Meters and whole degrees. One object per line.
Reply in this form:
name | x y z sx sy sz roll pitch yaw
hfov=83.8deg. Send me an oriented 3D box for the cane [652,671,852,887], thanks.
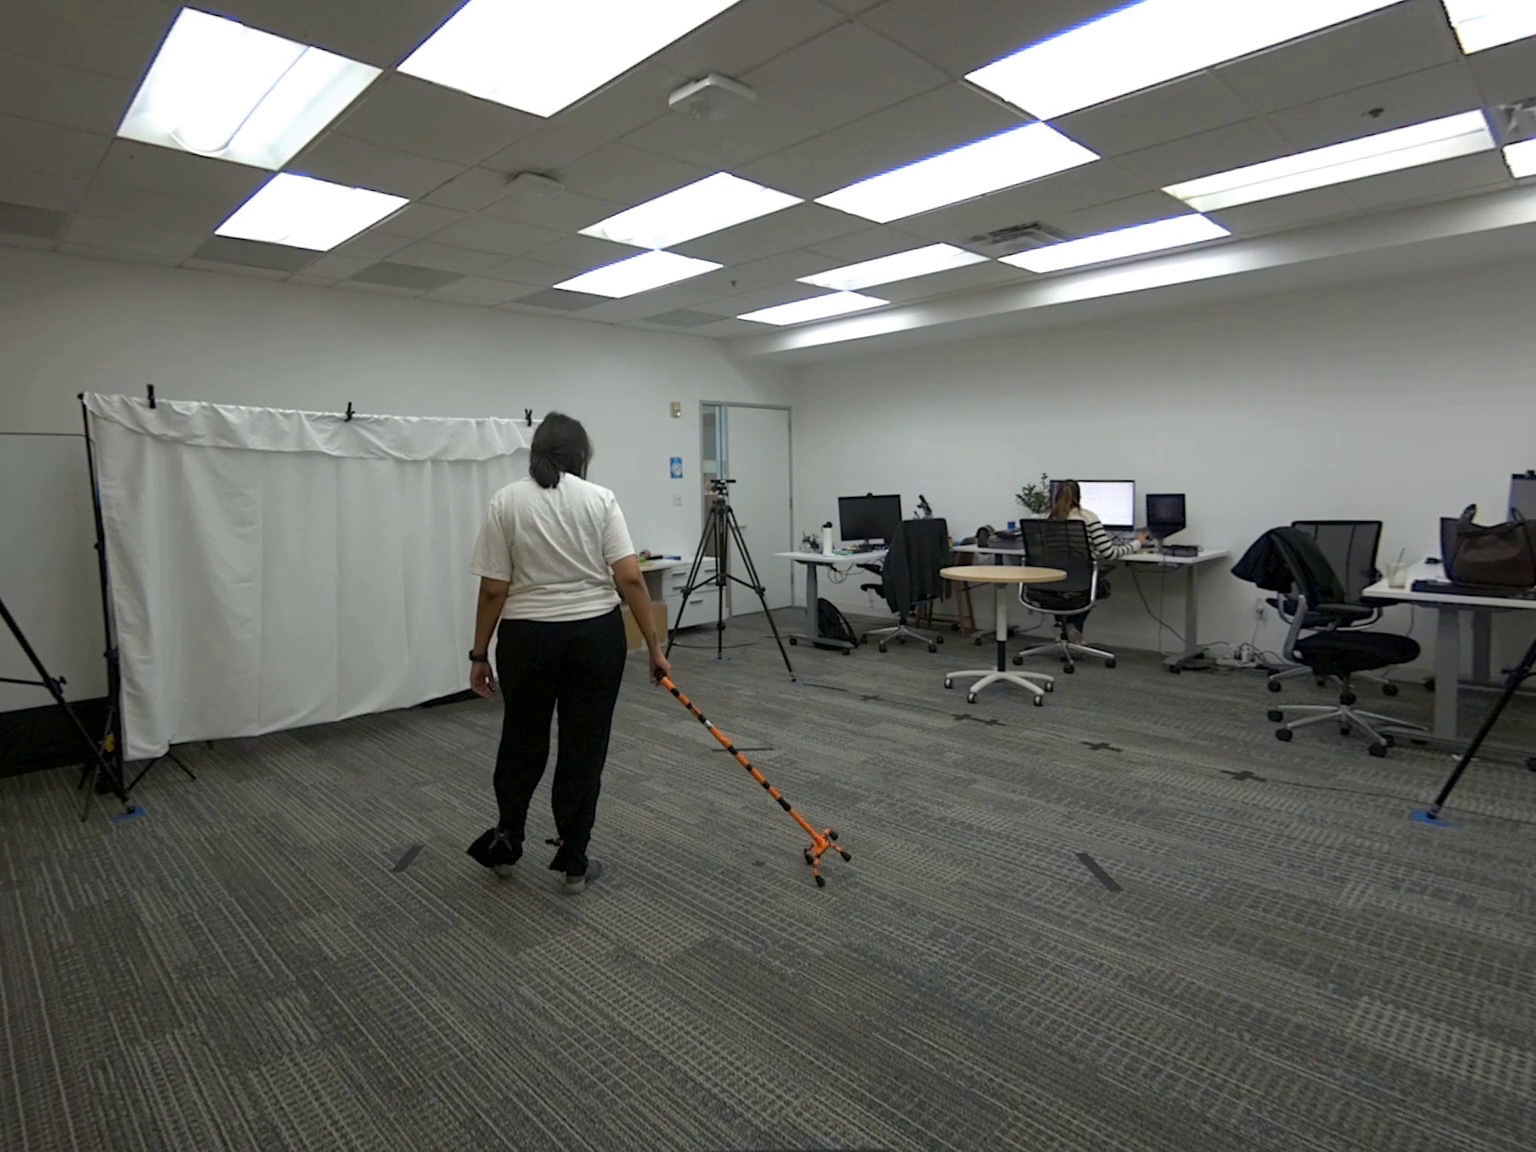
cane | -0.084 0.669 2.978 0.151 0.901 0.208 -43 5 -4
